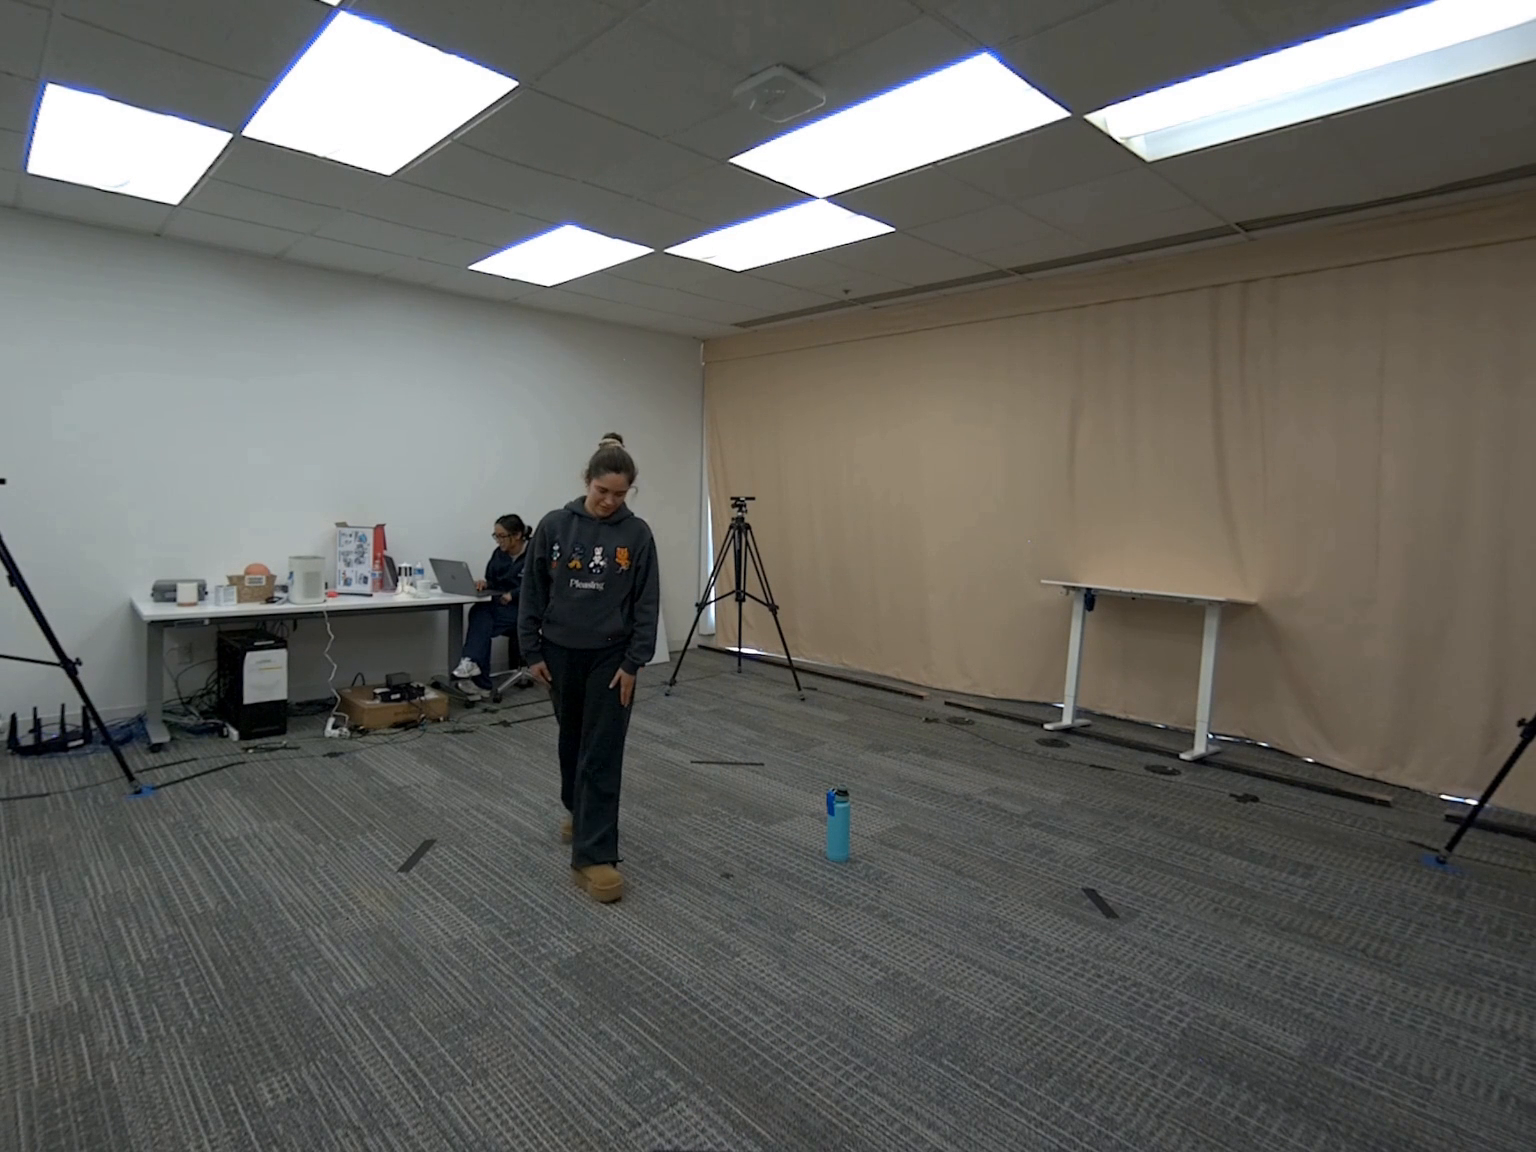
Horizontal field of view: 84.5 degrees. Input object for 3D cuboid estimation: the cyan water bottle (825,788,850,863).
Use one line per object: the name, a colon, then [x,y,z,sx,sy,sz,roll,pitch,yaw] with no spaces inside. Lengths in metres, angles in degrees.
cyan water bottle: [0.260,0.956,3.290,0.092,0.283,0.092,1,3,-1]
